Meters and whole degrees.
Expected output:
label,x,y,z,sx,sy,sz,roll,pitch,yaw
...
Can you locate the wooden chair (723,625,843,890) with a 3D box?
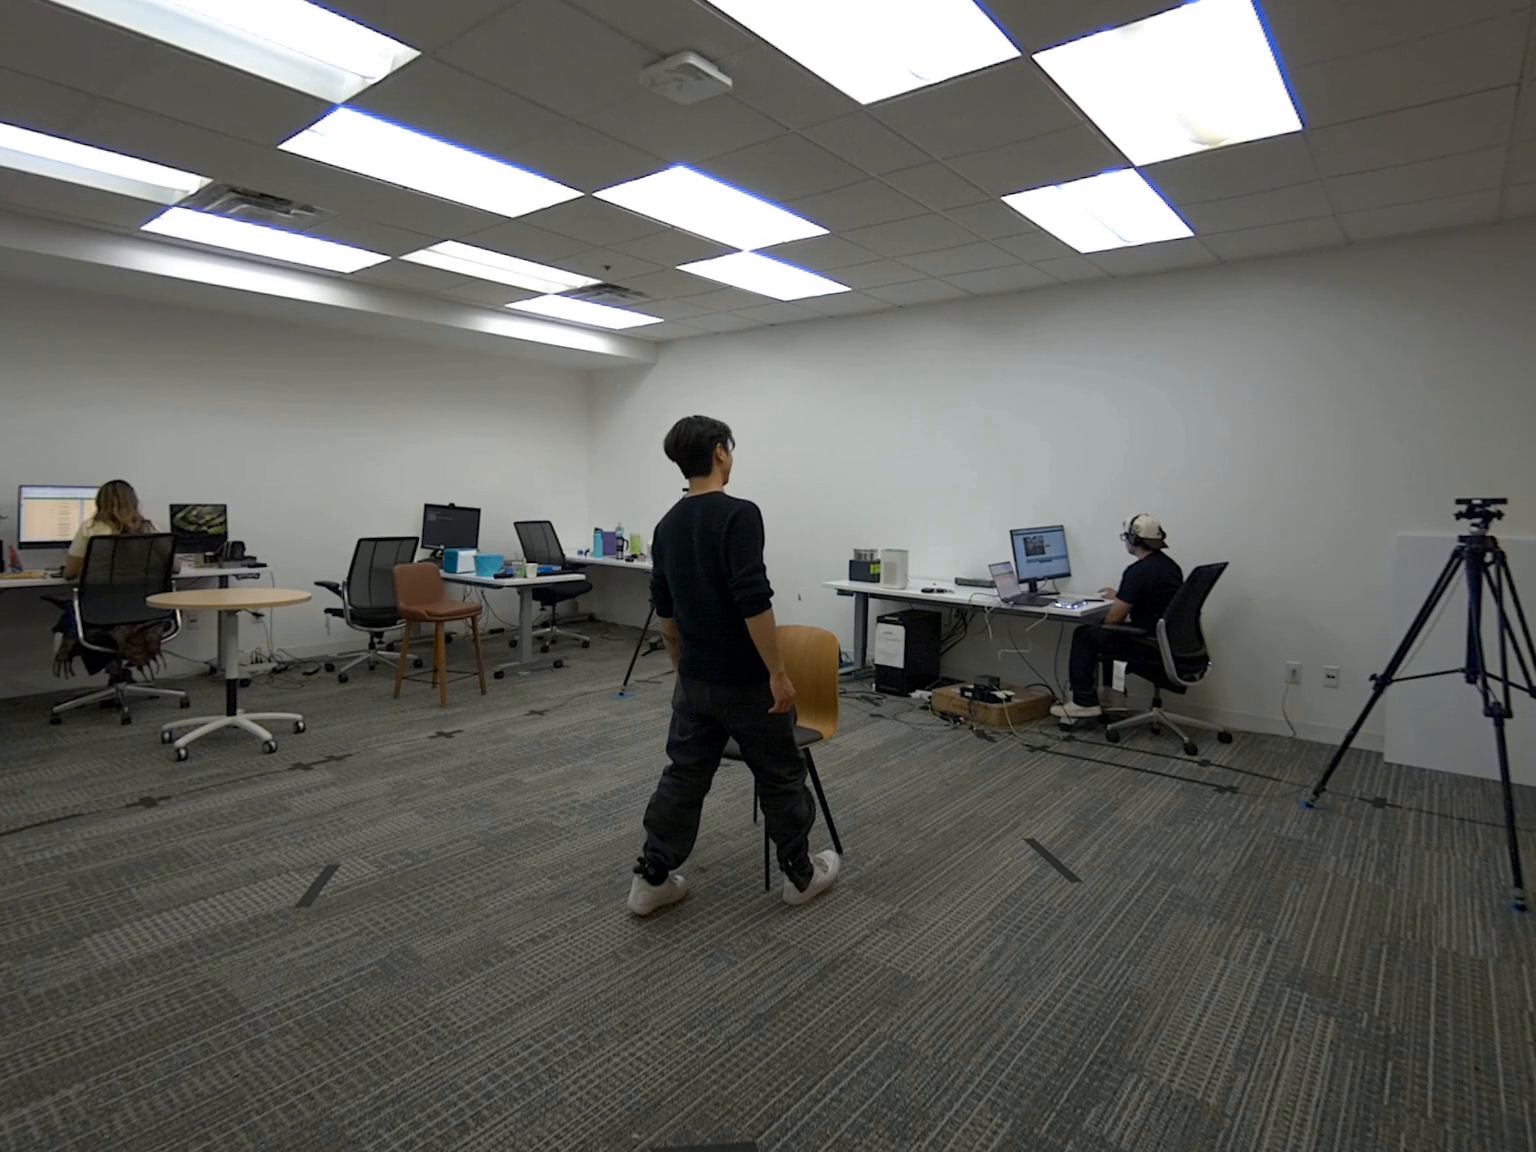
label,x,y,z,sx,sy,sz,roll,pitch,yaw
wooden chair,-0.030,0.631,3.234,0.494,0.877,0.506,5,1,42
